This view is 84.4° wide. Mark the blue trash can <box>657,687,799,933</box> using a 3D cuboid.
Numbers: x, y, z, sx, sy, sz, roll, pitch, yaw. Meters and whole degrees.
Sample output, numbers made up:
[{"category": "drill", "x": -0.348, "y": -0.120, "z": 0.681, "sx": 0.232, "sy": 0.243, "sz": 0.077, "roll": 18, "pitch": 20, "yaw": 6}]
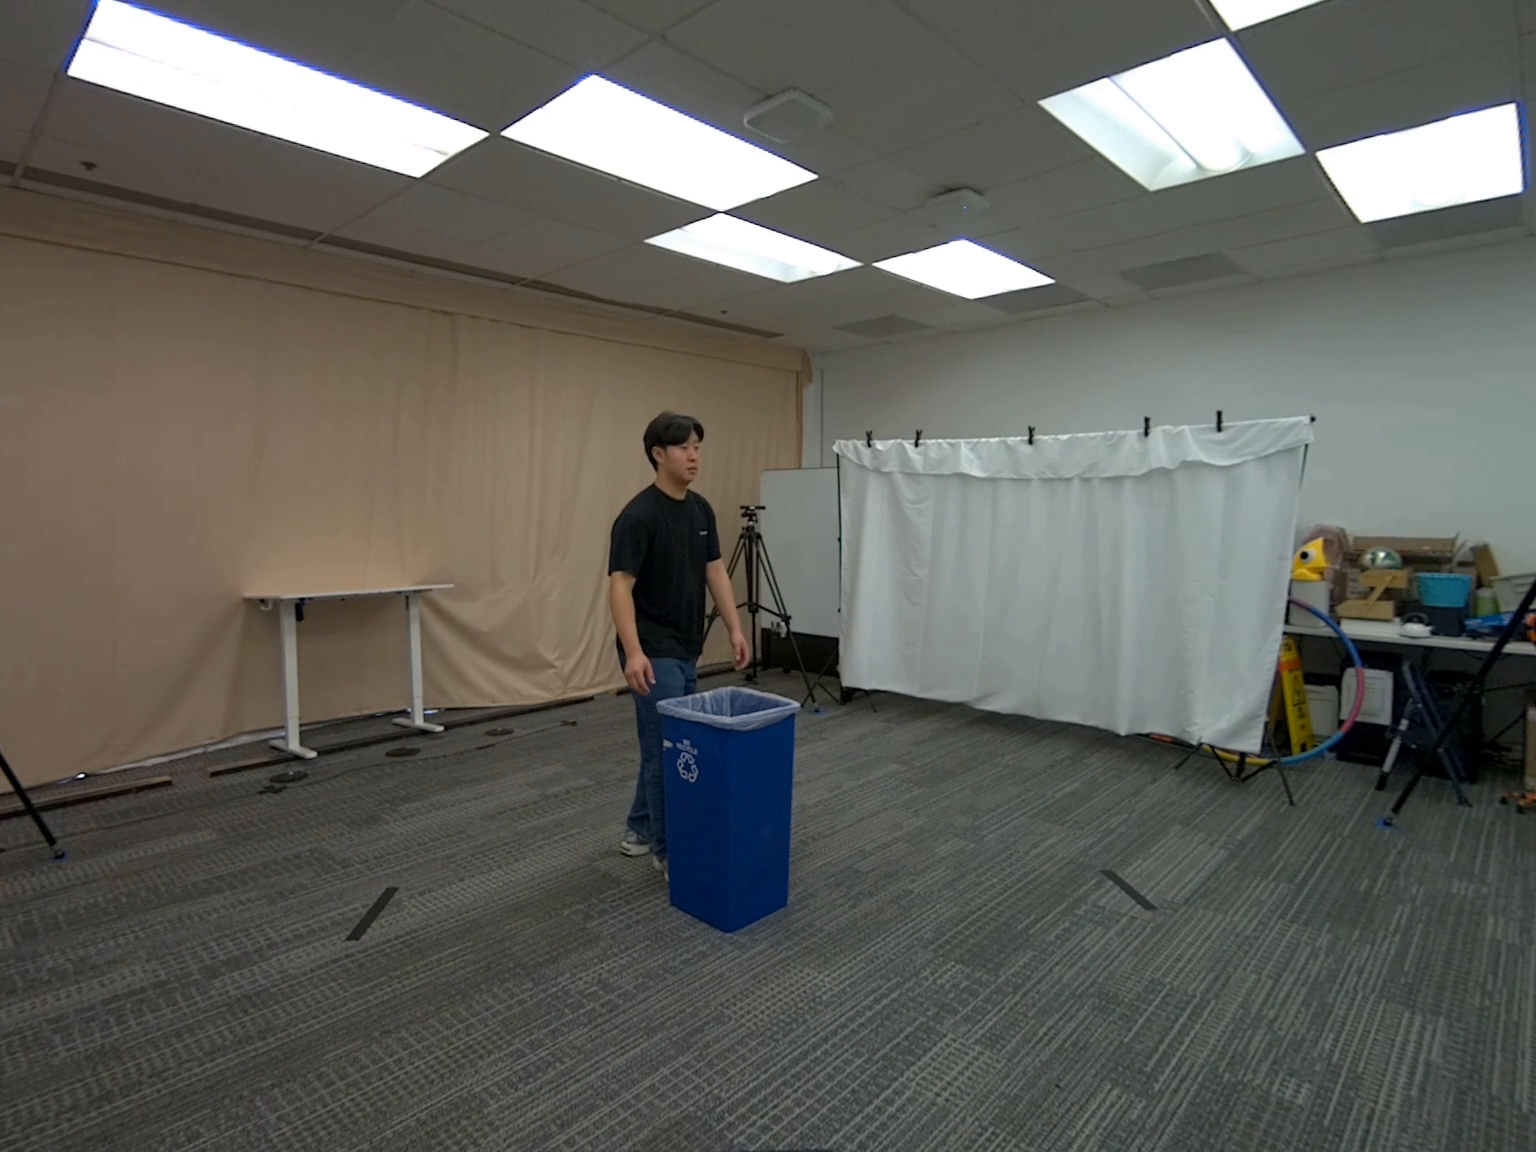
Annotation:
[{"category": "blue trash can", "x": -0.126, "y": 0.790, "z": 2.917, "sx": 0.386, "sy": 0.712, "sz": 0.366, "roll": 2, "pitch": 5, "yaw": 44}]
